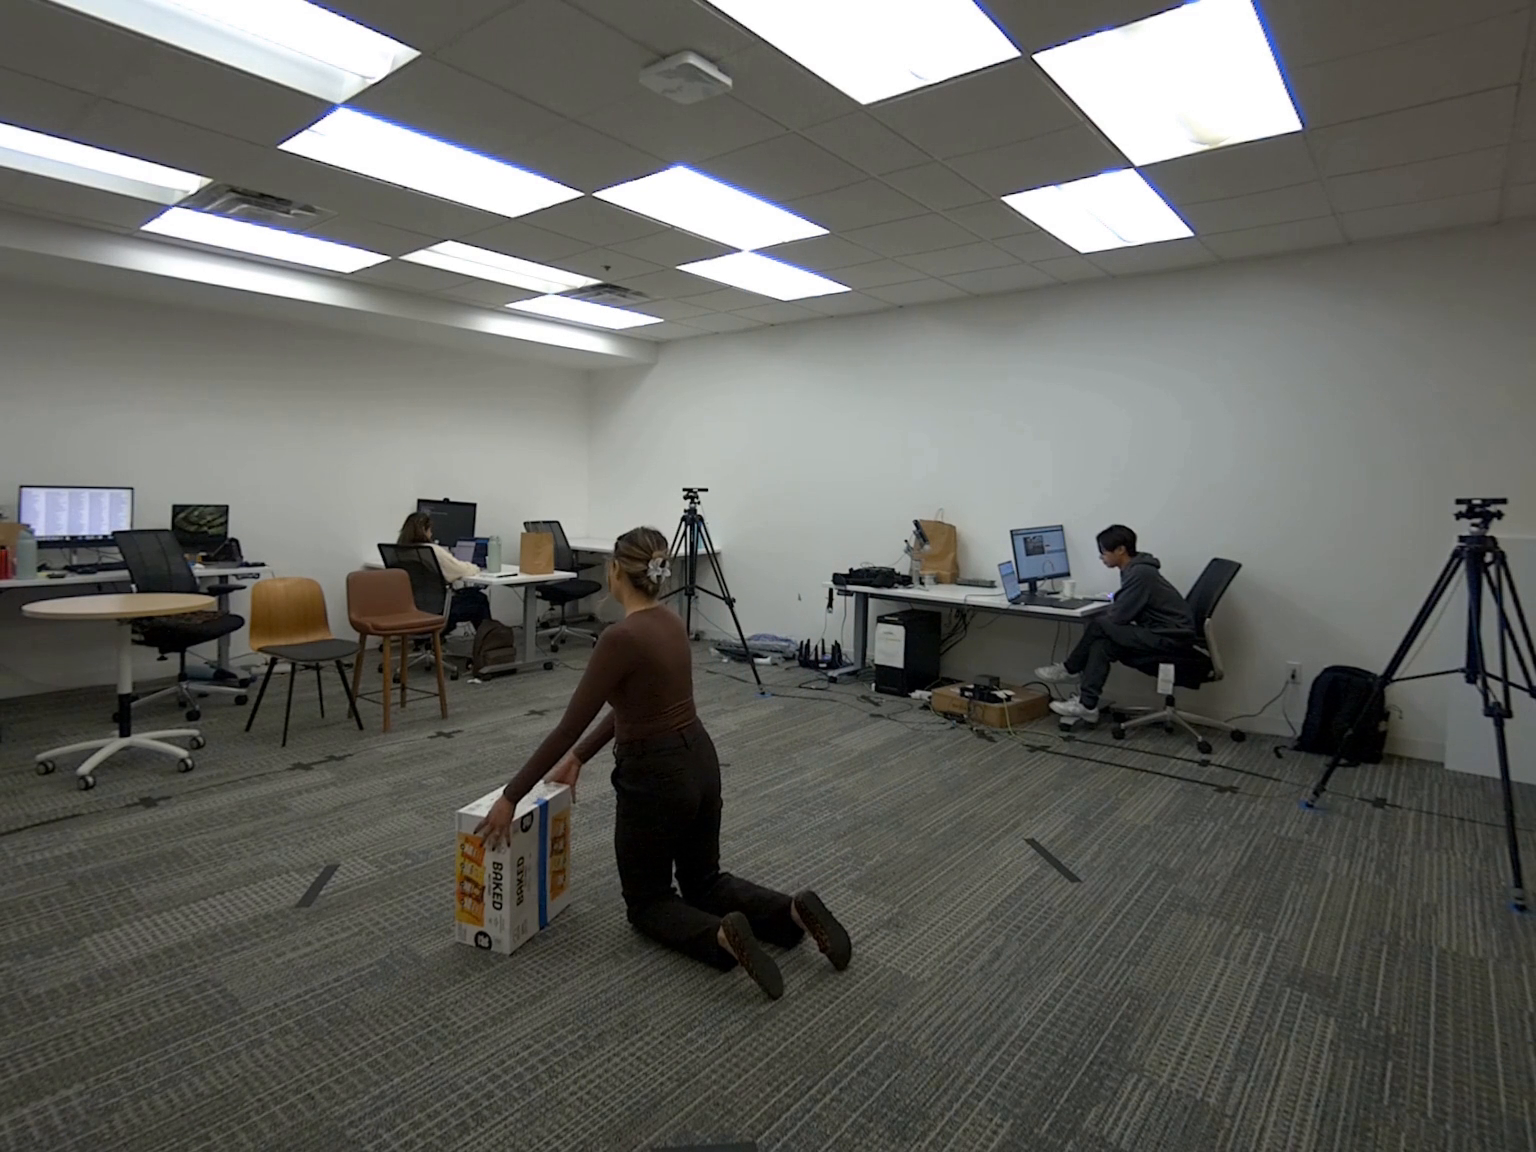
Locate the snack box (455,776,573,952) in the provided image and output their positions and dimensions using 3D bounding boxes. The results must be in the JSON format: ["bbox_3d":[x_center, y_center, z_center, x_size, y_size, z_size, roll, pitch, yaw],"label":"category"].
[{"bbox_3d":[-0.806,0.895,2.693,0.210,0.404,0.334,2,4,19],"label":"snack box"}]
